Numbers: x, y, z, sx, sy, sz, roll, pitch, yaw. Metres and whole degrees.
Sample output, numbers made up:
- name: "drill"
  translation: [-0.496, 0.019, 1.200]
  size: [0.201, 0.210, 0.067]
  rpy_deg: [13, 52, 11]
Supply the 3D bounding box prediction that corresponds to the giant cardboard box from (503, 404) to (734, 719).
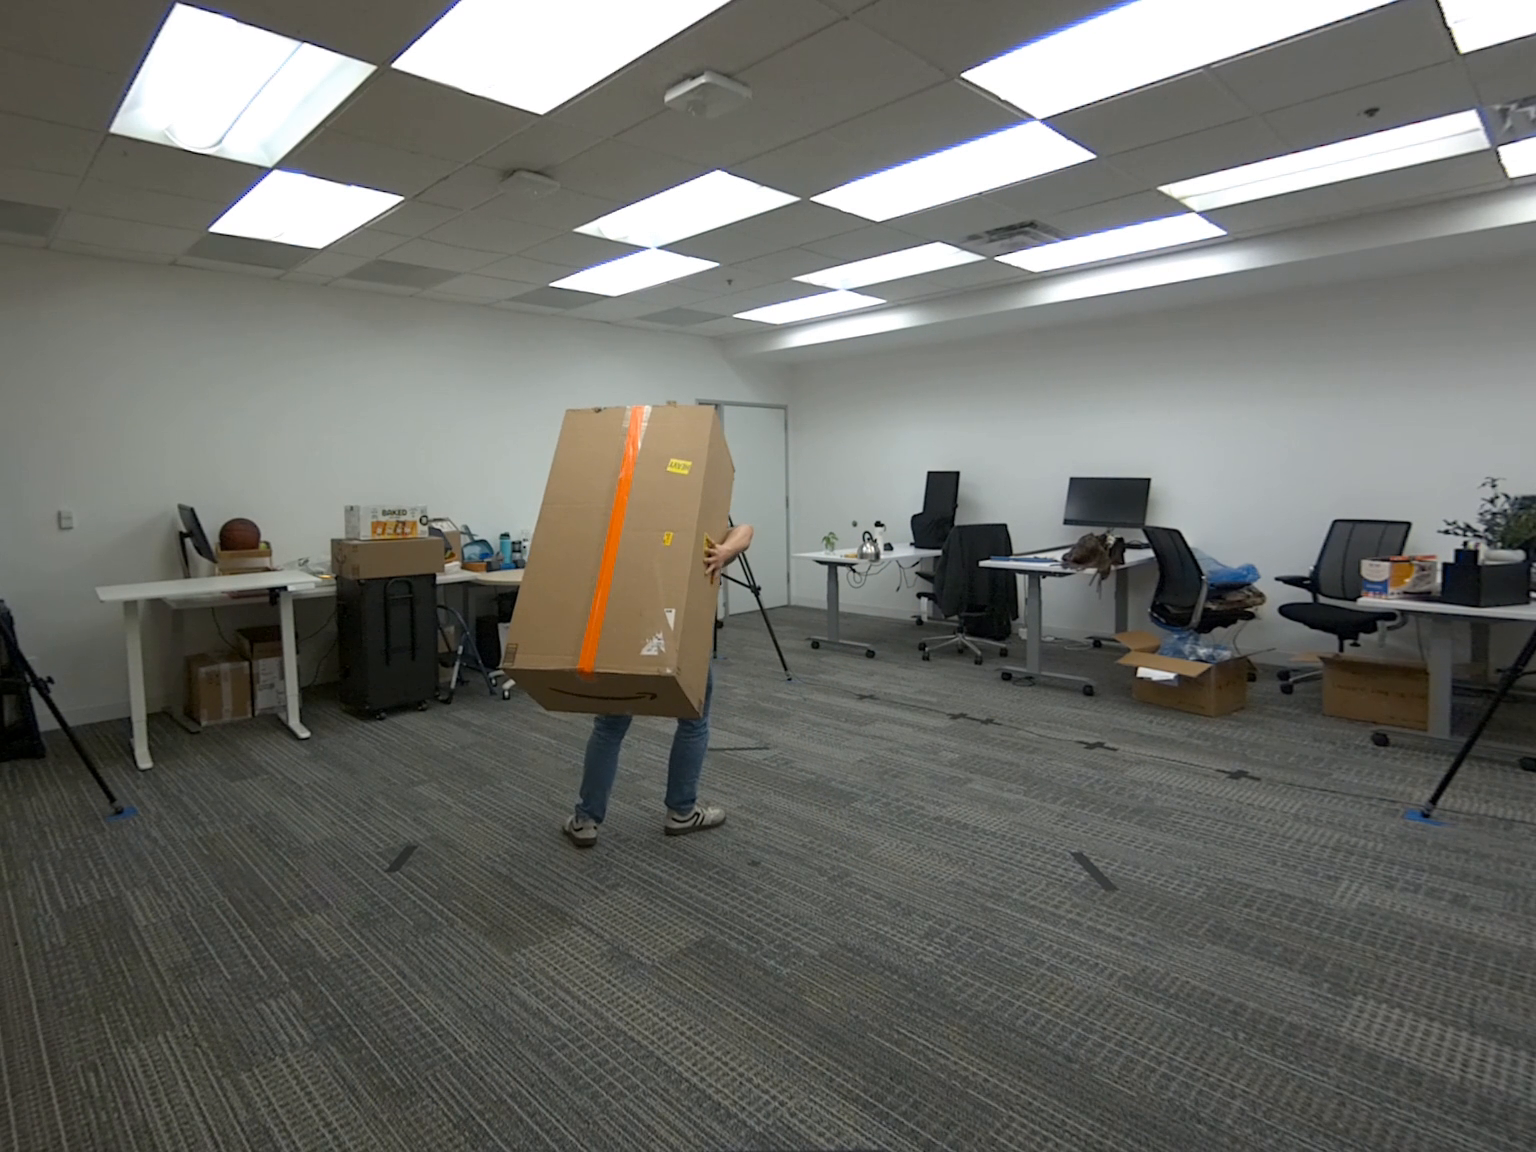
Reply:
- name: "giant cardboard box"
  translation: [-0.484, -0.071, 3.042]
  size: [0.585, 1.046, 0.412]
  rpy_deg: [0, -28, 13]
